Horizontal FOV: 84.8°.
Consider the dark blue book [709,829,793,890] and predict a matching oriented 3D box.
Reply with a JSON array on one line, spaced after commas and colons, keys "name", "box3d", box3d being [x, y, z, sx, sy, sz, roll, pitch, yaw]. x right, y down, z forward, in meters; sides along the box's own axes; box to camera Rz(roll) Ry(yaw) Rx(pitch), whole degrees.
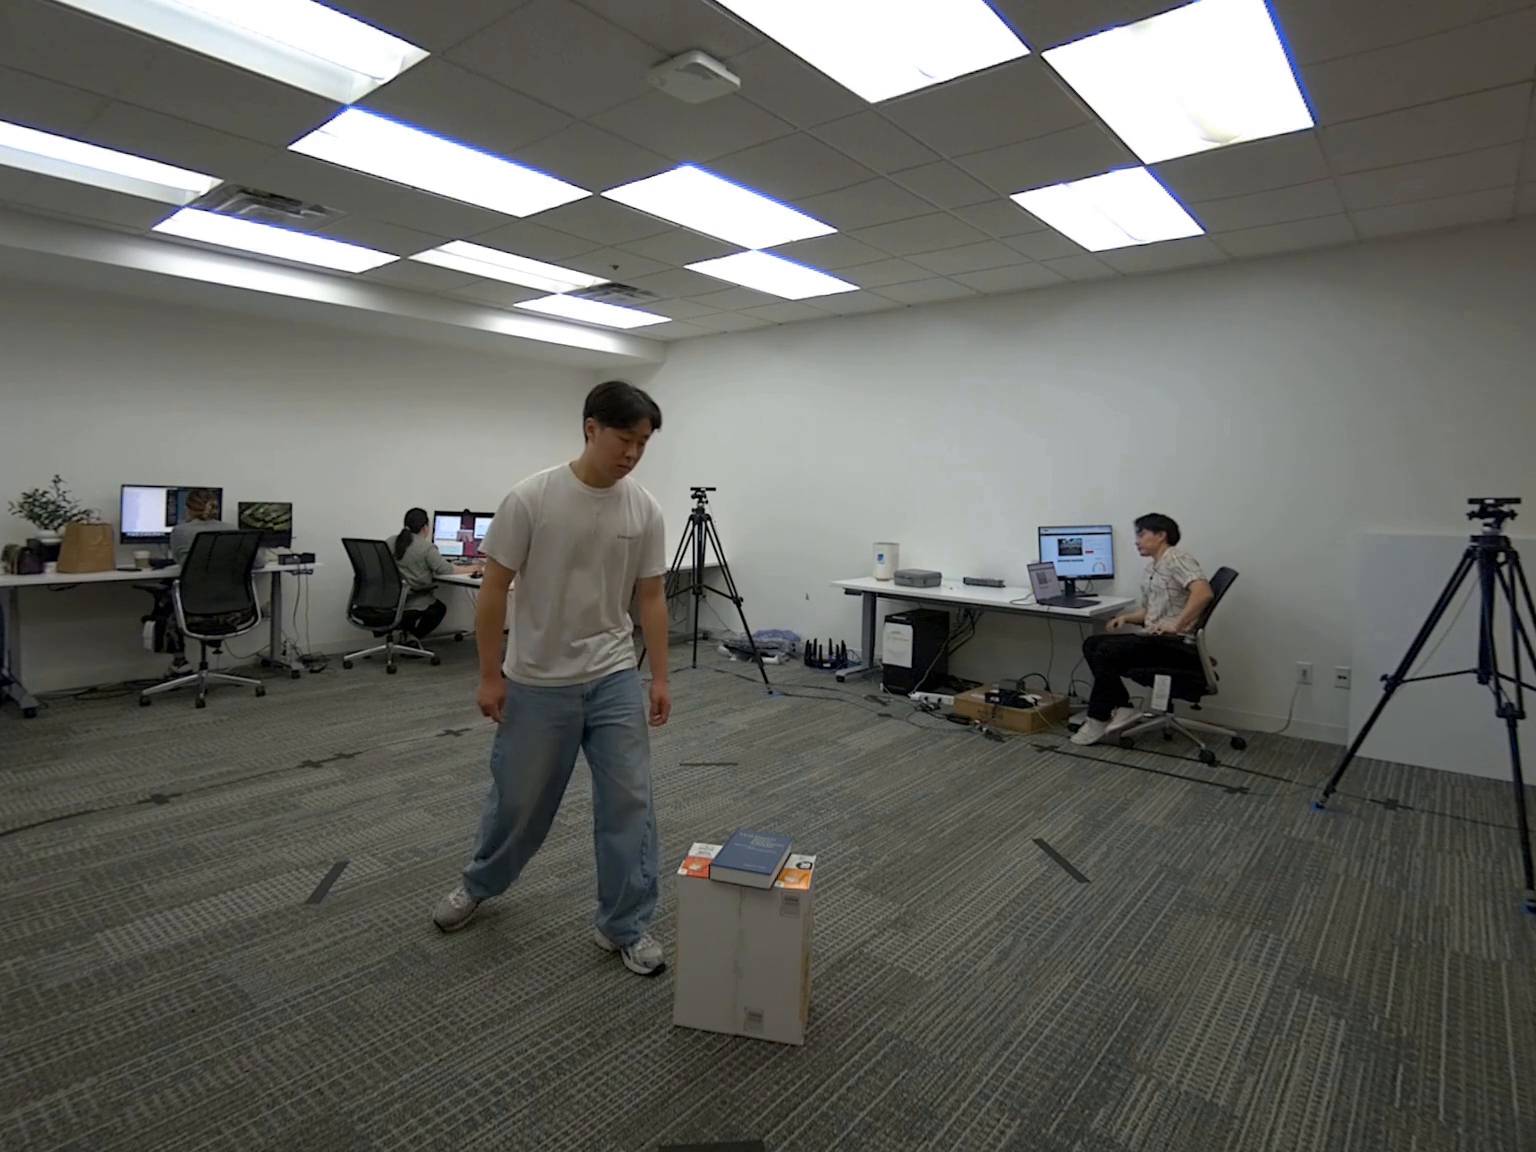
[{"name": "dark blue book", "box3d": [-0.047, 0.736, 2.220, 0.166, 0.045, 0.241, 3, 6, 15]}]
